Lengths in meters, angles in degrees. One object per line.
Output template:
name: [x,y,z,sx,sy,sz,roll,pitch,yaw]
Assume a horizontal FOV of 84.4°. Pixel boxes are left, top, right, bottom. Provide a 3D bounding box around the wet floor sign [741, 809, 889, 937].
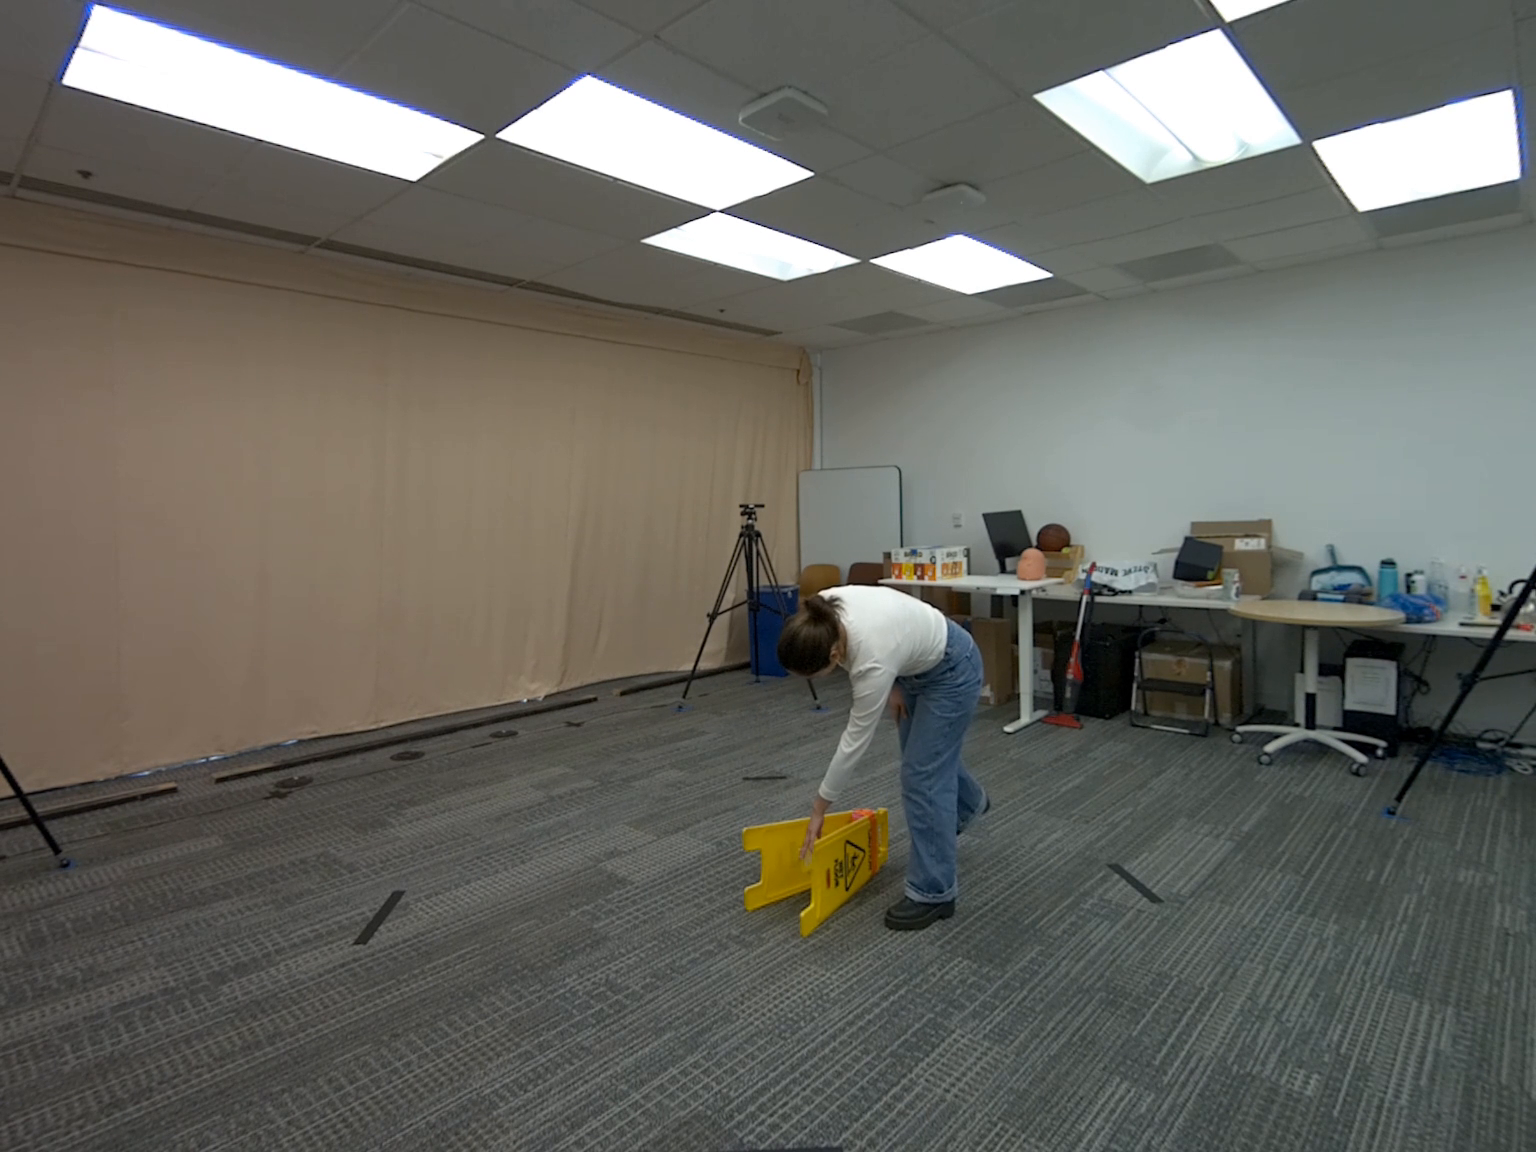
wet floor sign: [0.237,1.005,3.015,0.299,0.282,0.626,3,5,45]
